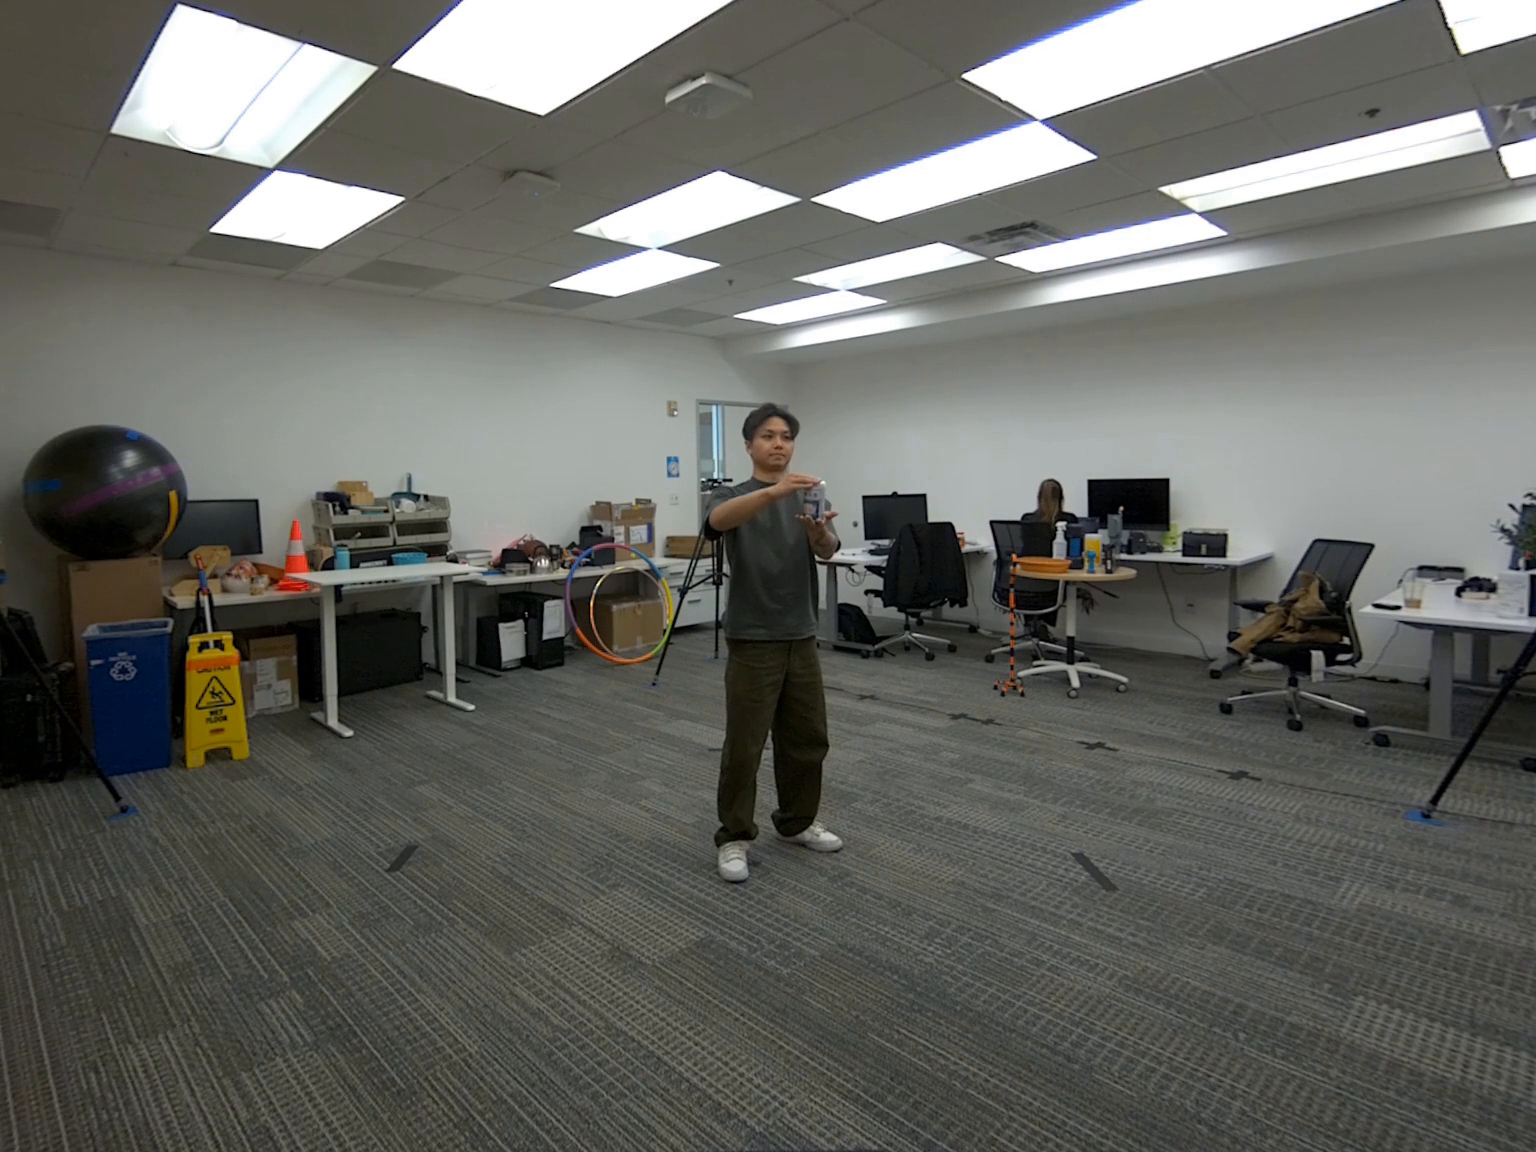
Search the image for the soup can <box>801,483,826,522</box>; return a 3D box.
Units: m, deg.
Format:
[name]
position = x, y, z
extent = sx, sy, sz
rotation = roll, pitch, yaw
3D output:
[soup can]
position = 0.130, -0.233, 2.655
extent = 0.067, 0.120, 0.068
rotation = 4, 16, -3
